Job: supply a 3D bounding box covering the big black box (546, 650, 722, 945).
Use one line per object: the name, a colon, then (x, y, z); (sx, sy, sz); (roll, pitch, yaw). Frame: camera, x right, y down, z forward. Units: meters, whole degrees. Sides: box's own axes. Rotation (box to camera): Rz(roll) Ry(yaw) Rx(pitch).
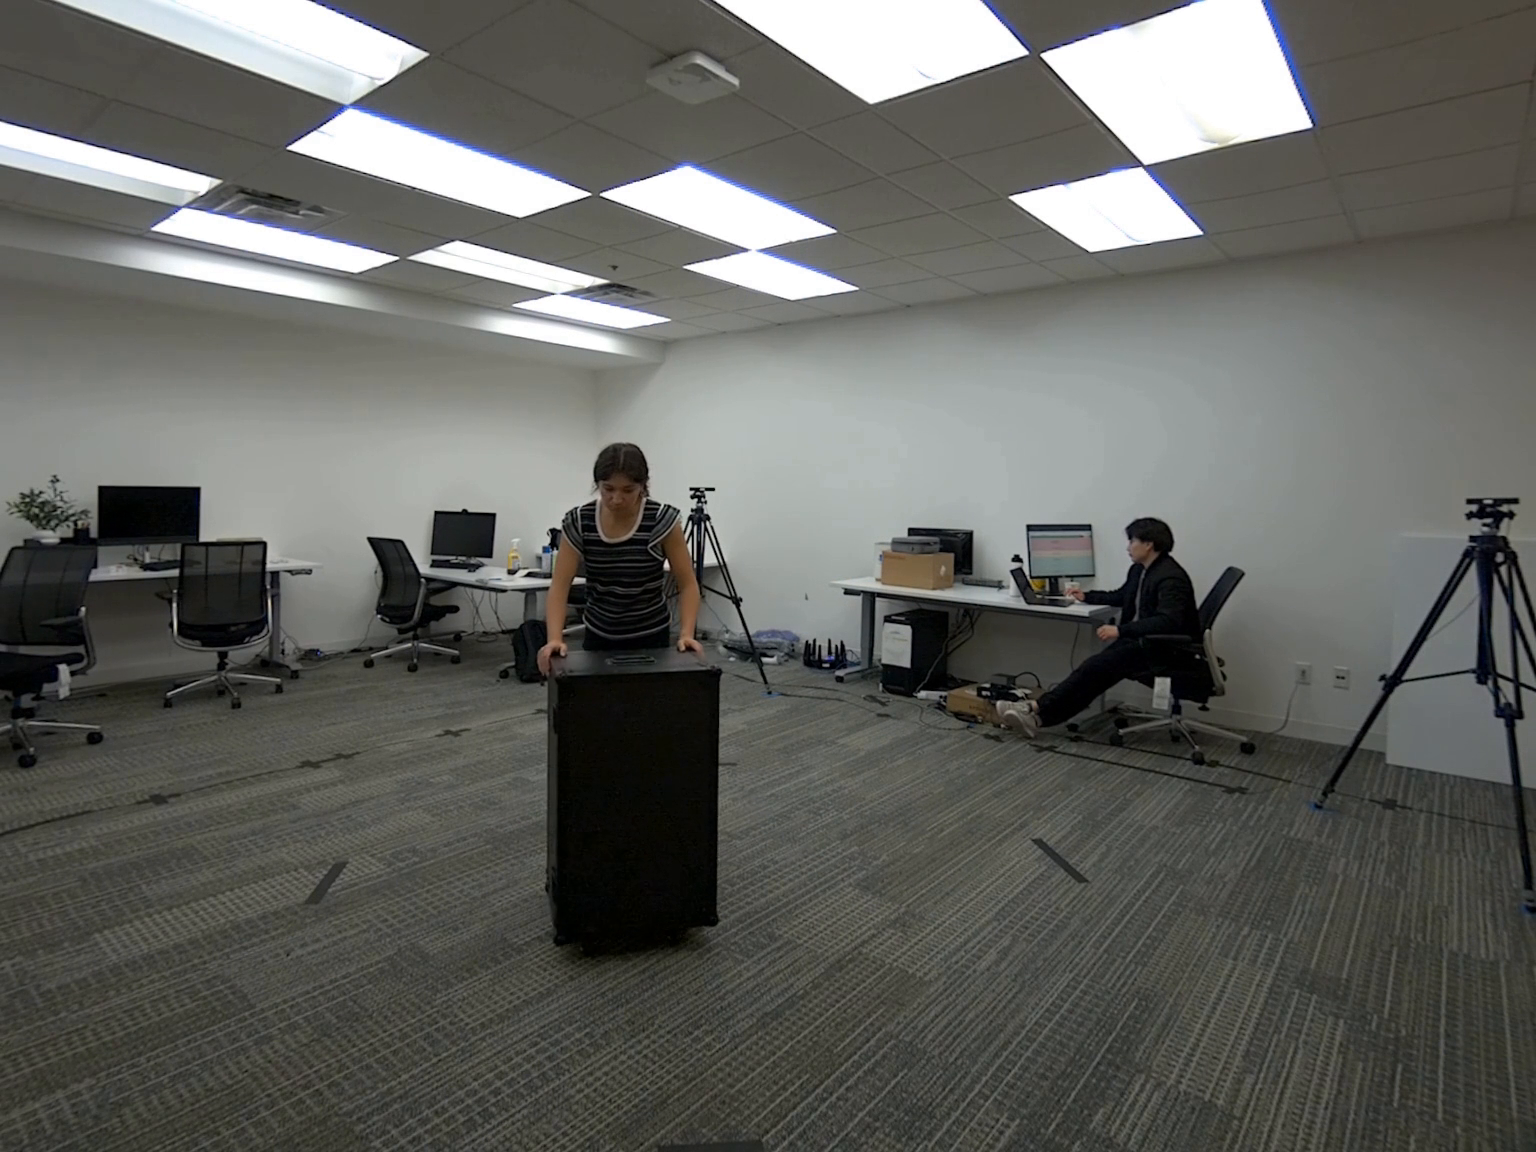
big black box: (-0.448, 0.679, 2.662); (0.513, 0.859, 0.404); (-1, 3, -17)
